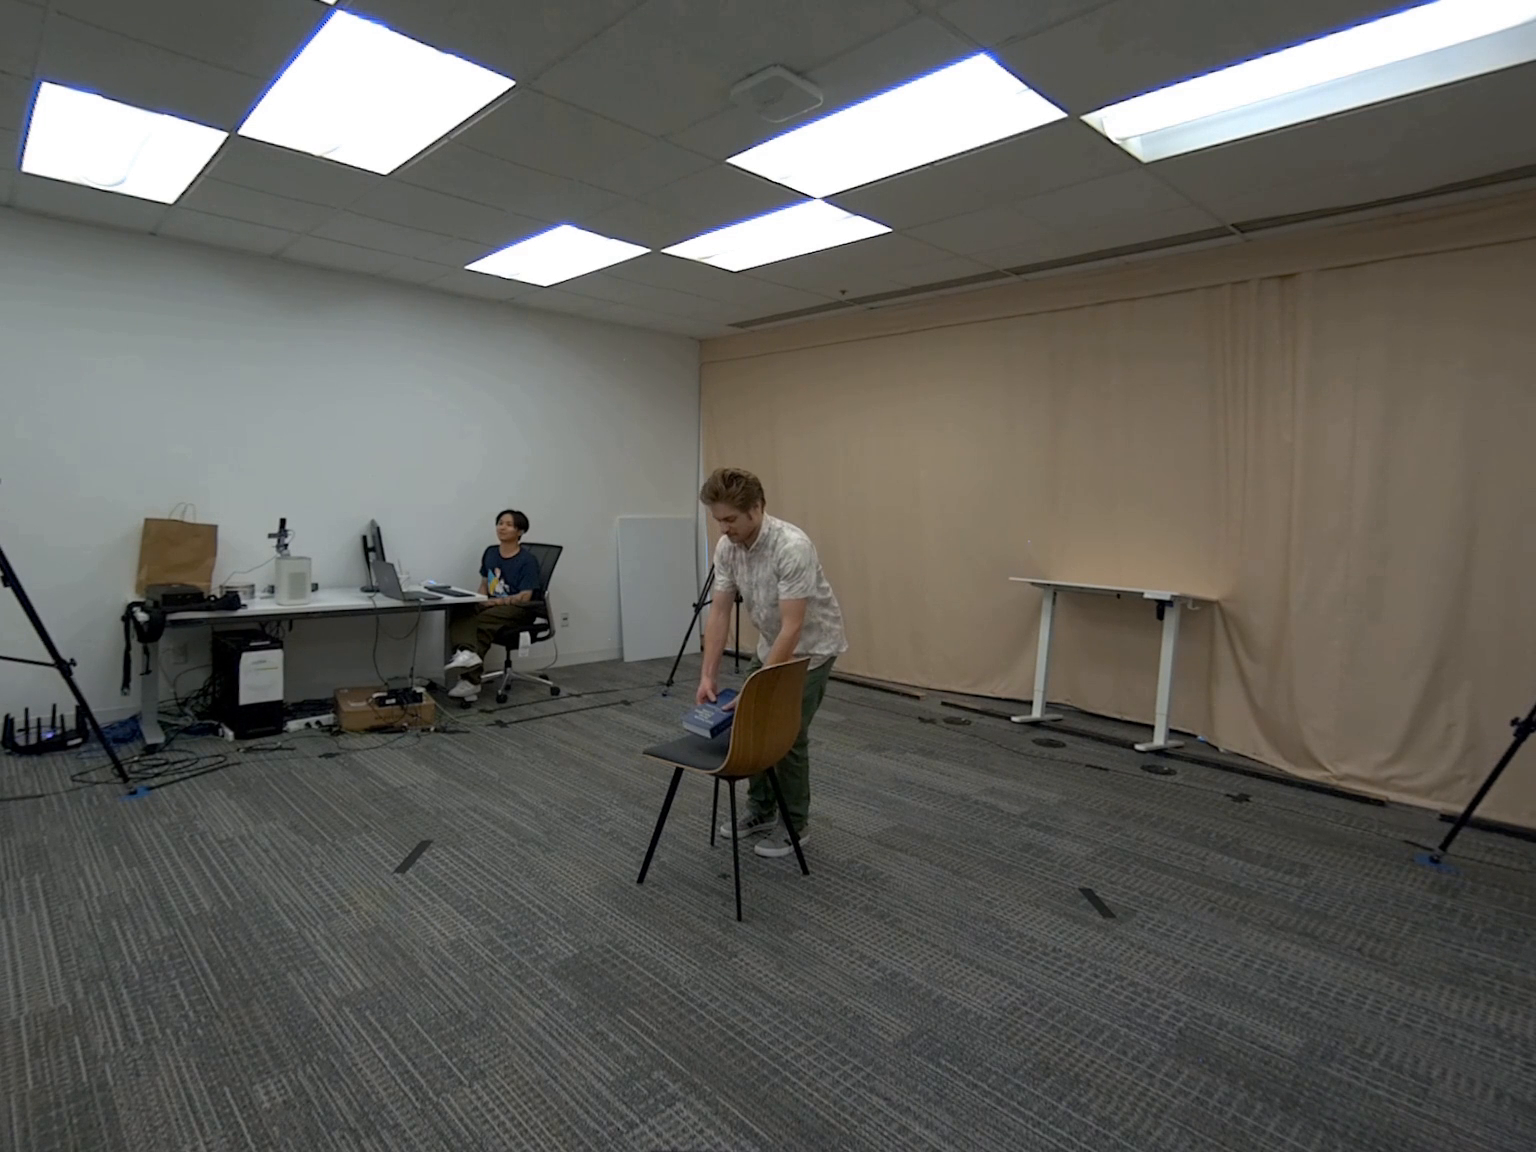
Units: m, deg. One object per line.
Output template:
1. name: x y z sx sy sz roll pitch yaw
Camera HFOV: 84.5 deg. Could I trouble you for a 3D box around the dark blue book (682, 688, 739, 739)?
1. dark blue book: -0.187 0.500 3.082 0.168 0.044 0.242 9 29 44
